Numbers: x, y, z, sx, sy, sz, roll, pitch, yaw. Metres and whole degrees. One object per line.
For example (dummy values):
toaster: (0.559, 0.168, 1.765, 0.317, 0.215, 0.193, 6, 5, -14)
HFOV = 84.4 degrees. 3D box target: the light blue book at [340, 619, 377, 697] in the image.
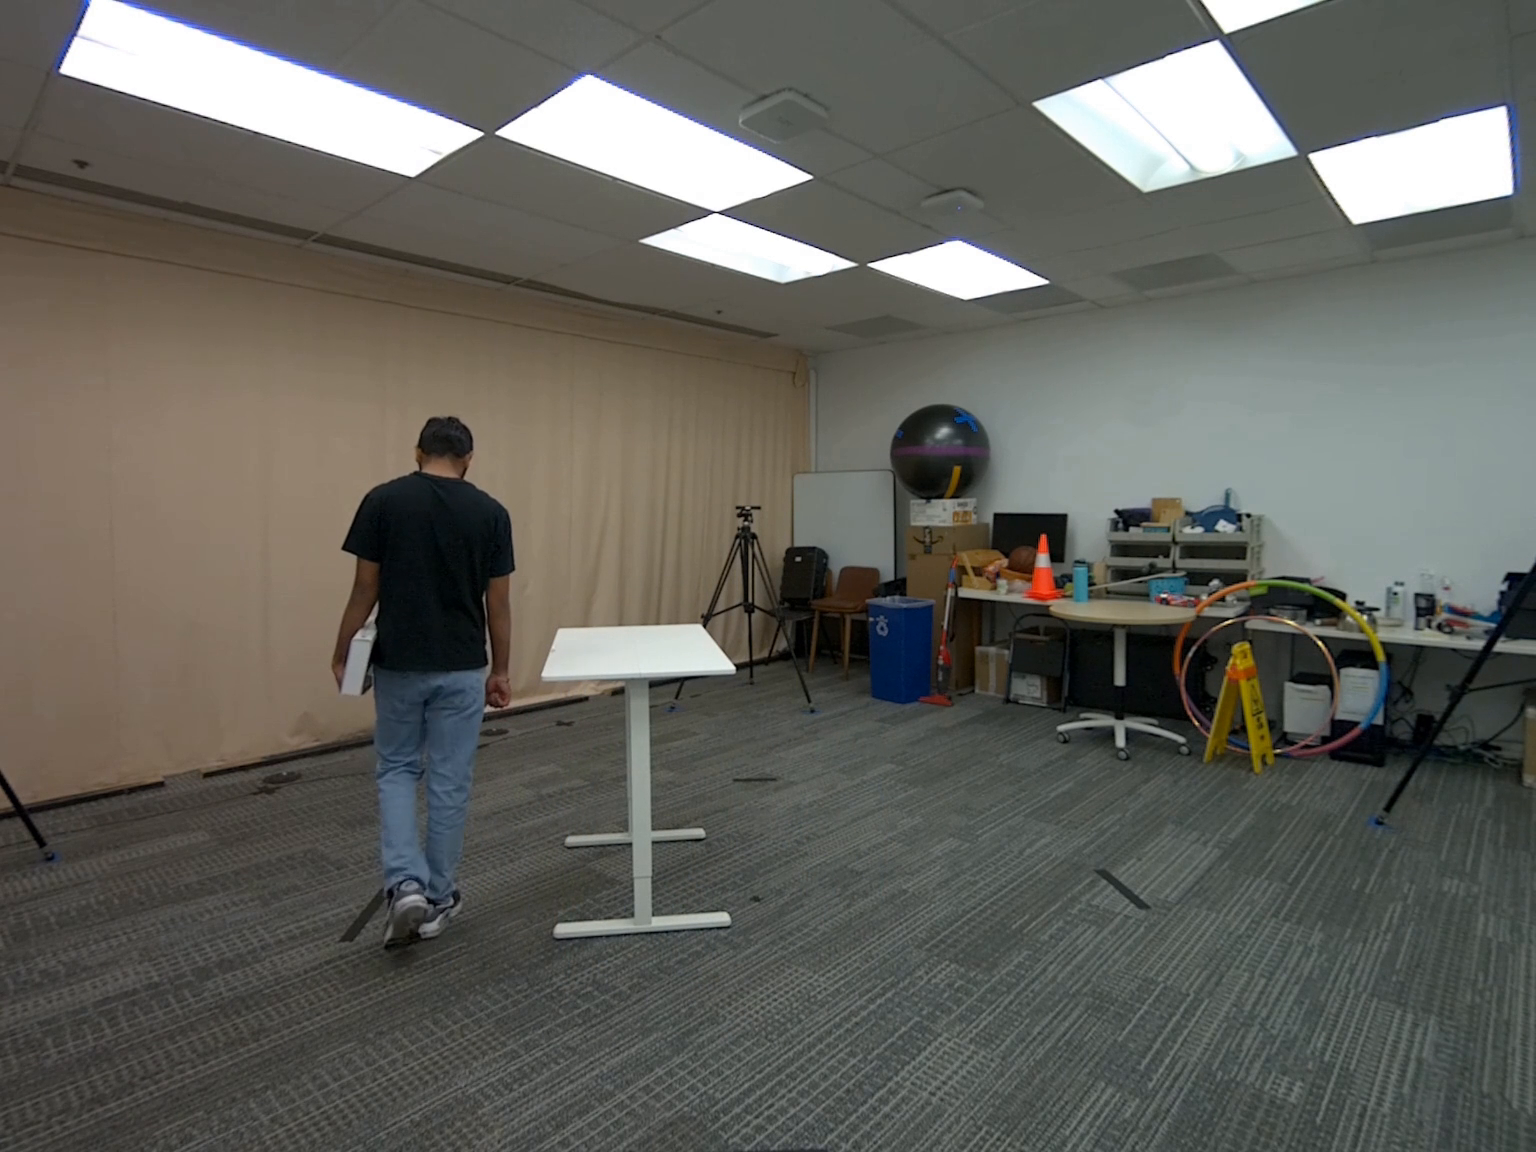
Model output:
light blue book: (-1.276, 0.250, 2.673, 0.058, 0.191, 0.266, 12, 11, -17)
